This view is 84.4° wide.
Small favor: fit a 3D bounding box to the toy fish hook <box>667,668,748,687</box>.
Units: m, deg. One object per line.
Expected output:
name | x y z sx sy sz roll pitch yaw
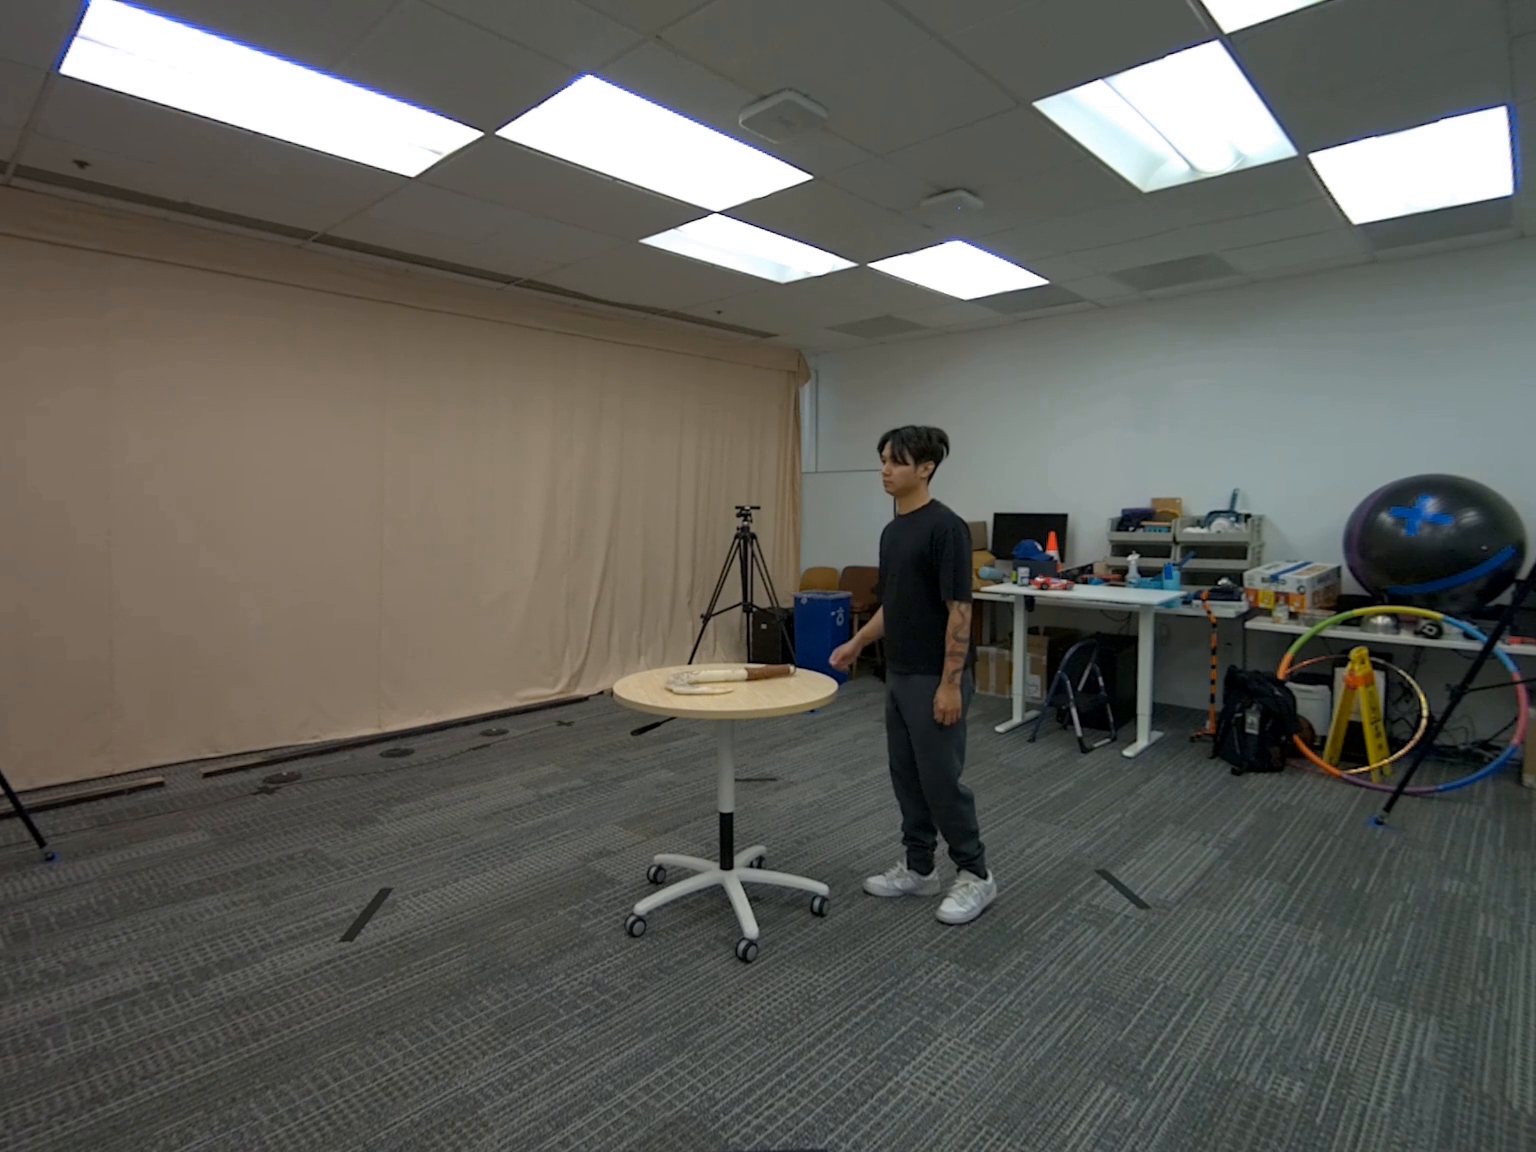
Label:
toy fish hook | -0.091 0.363 2.867 0.495 0.048 0.231 -4 10 -24
